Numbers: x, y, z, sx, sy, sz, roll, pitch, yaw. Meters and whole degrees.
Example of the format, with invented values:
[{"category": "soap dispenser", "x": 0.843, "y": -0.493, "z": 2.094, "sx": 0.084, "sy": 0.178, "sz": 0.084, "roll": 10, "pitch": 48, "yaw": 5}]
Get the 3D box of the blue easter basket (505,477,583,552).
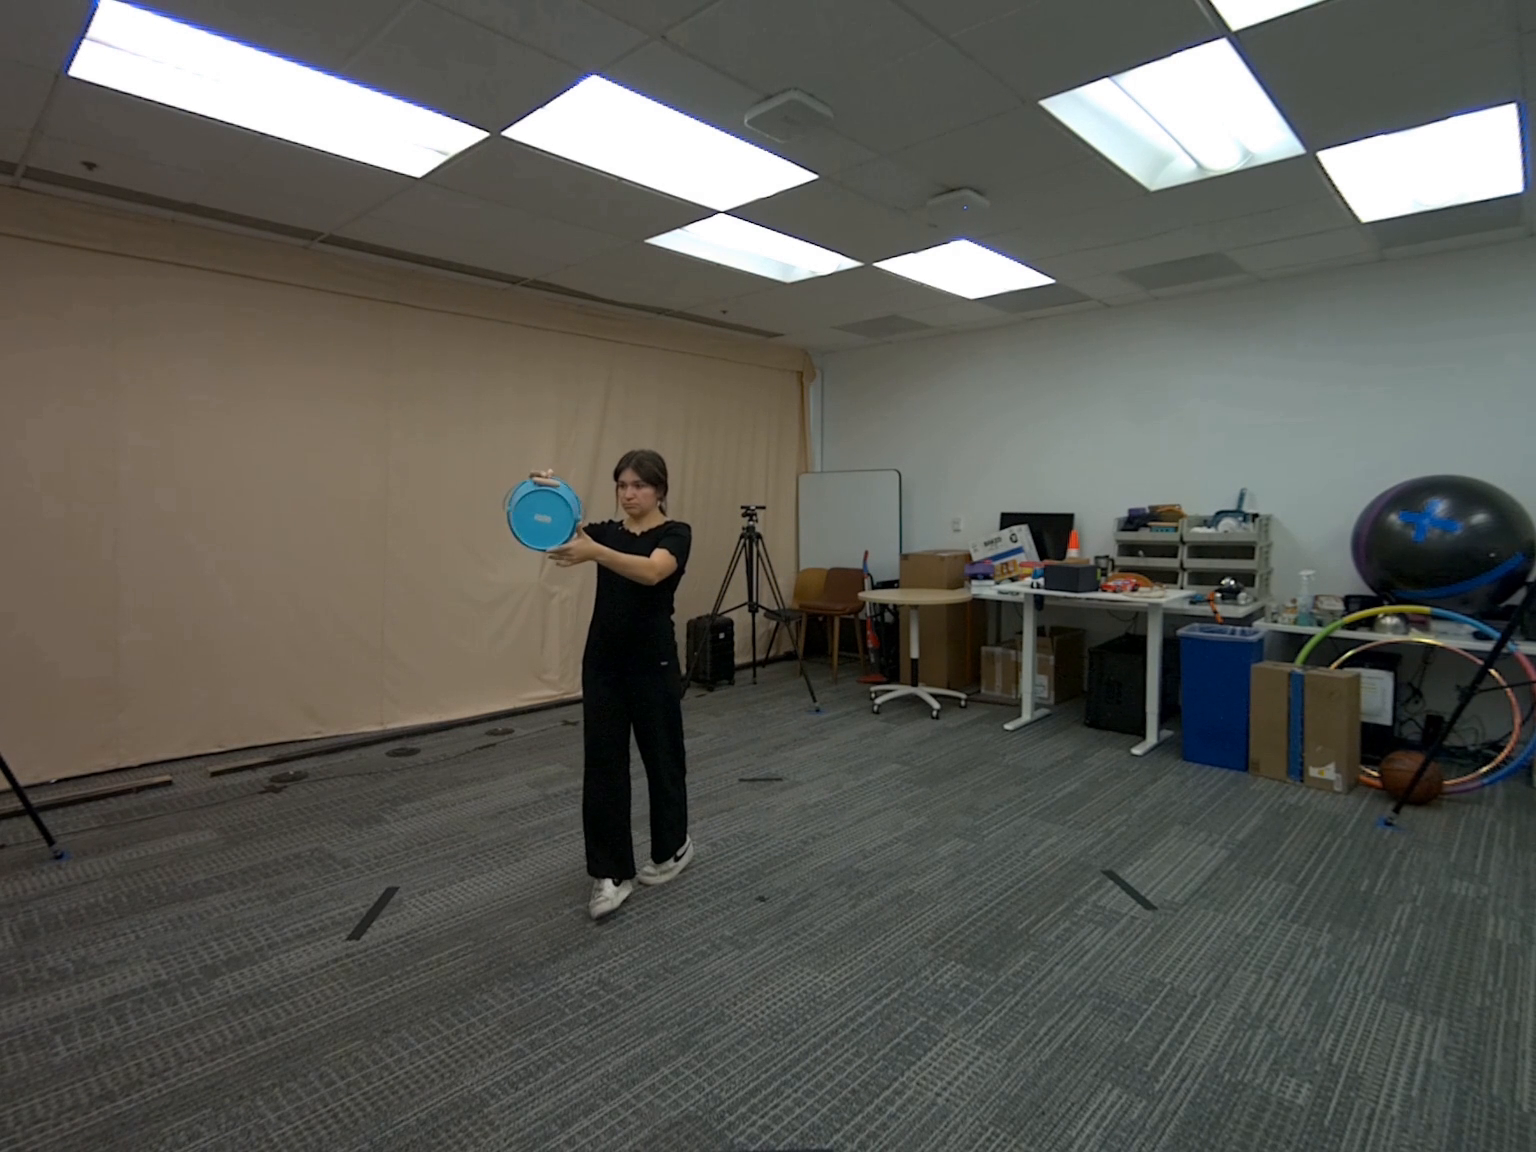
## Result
[{"category": "blue easter basket", "x": -0.689, "y": -0.187, "z": 2.561, "sx": 0.241, "sy": 0.242, "sz": 0.158, "roll": -1, "pitch": 9, "yaw": -10}]
